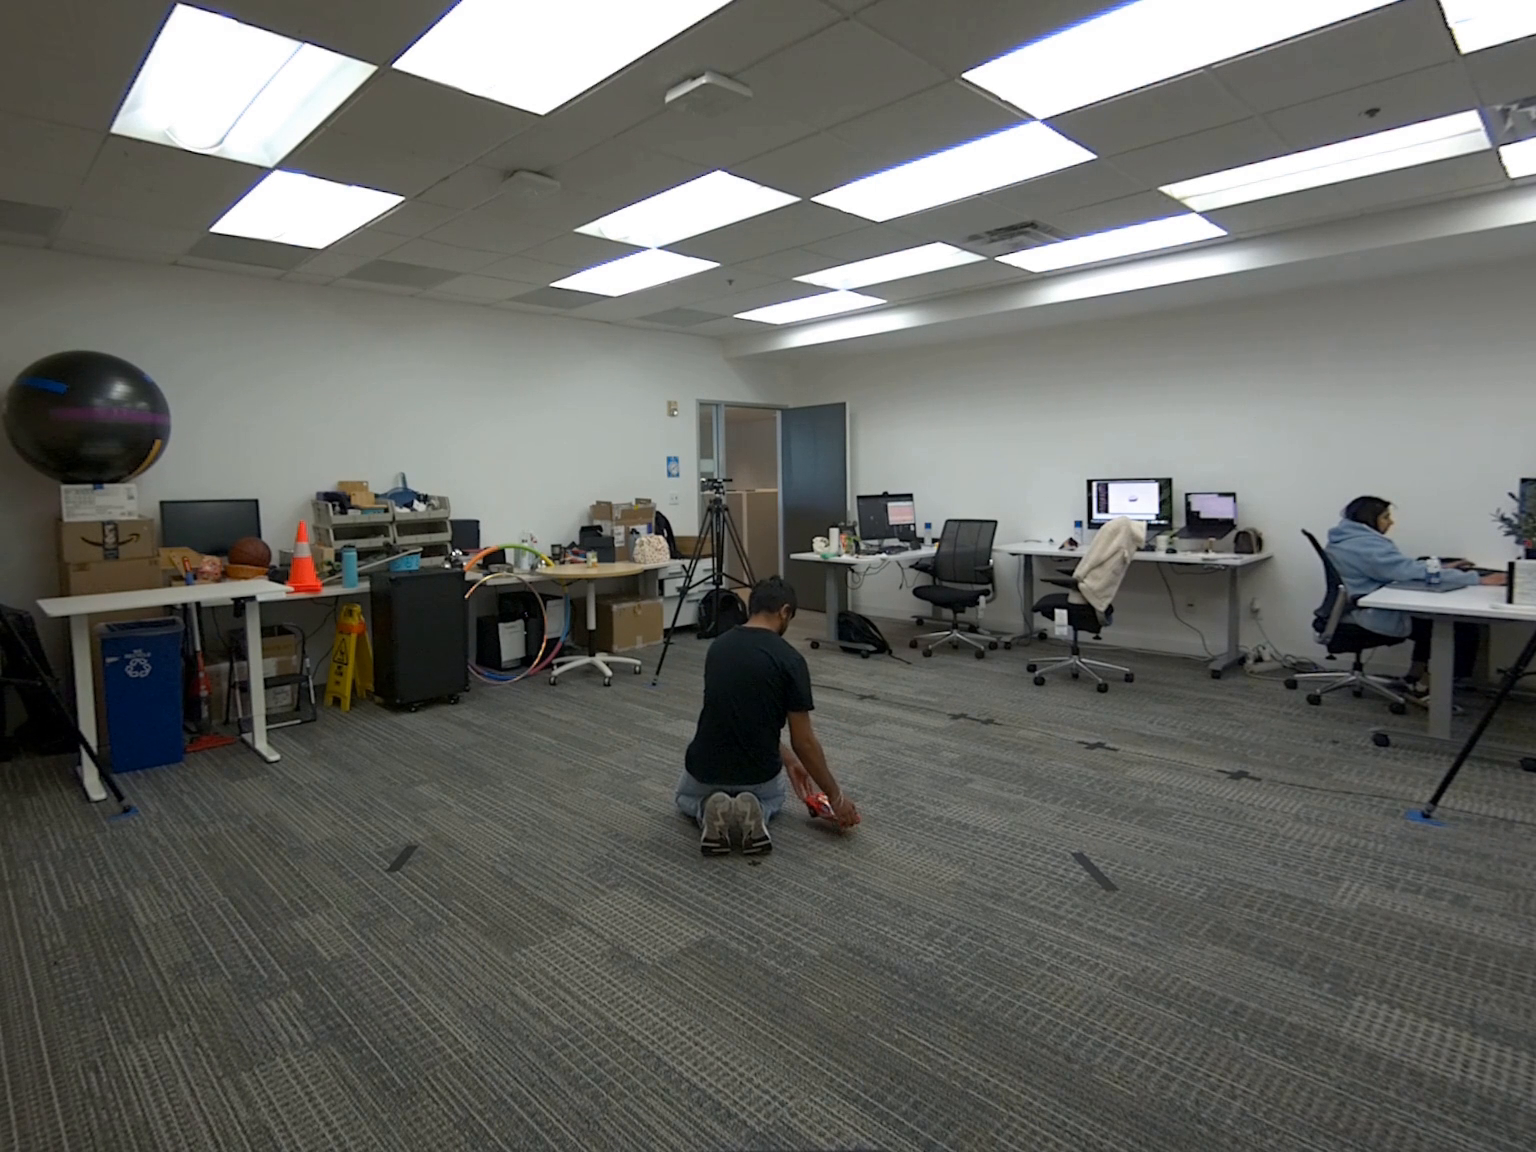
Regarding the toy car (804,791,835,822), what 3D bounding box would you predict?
[{"bbox_3d":[0.252,0.932,3.426,0.127,0.082,0.264,-6,20,-33],"label":"toy car"}]
